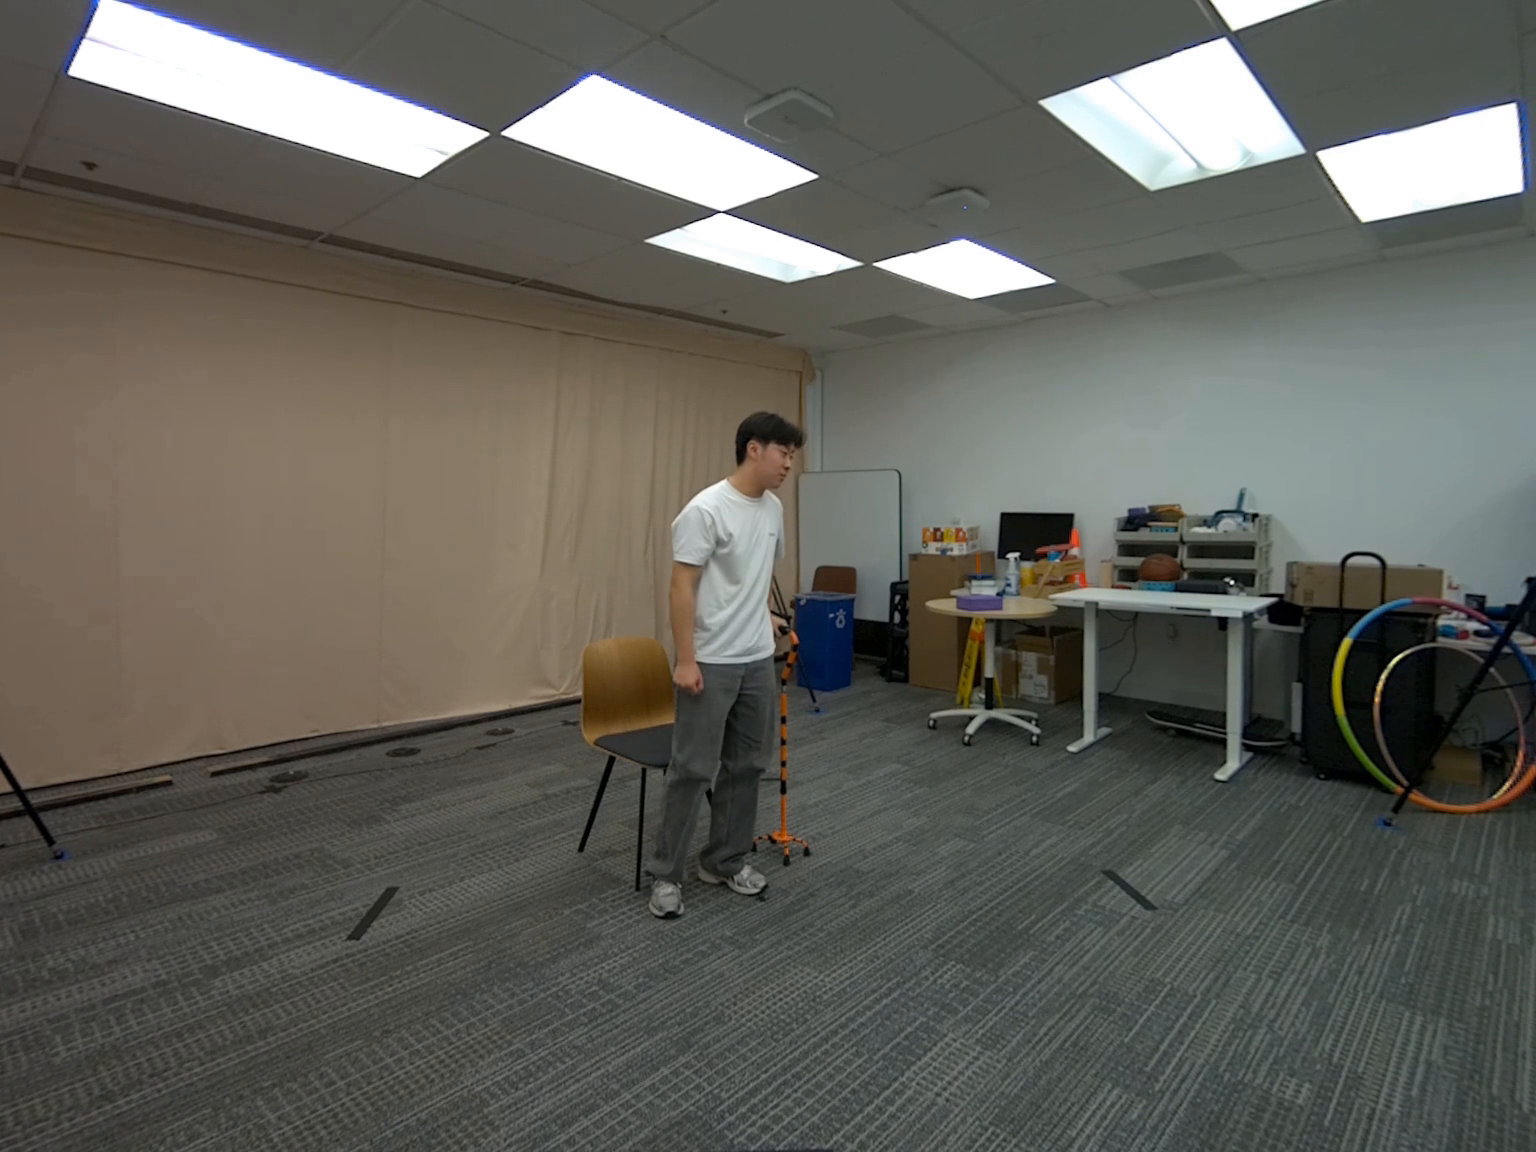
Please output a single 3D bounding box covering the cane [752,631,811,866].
[{"bbox_3d":[0.066,0.653,3.348,0.213,0.907,0.147,3,3,44],"label":"cane"}]
